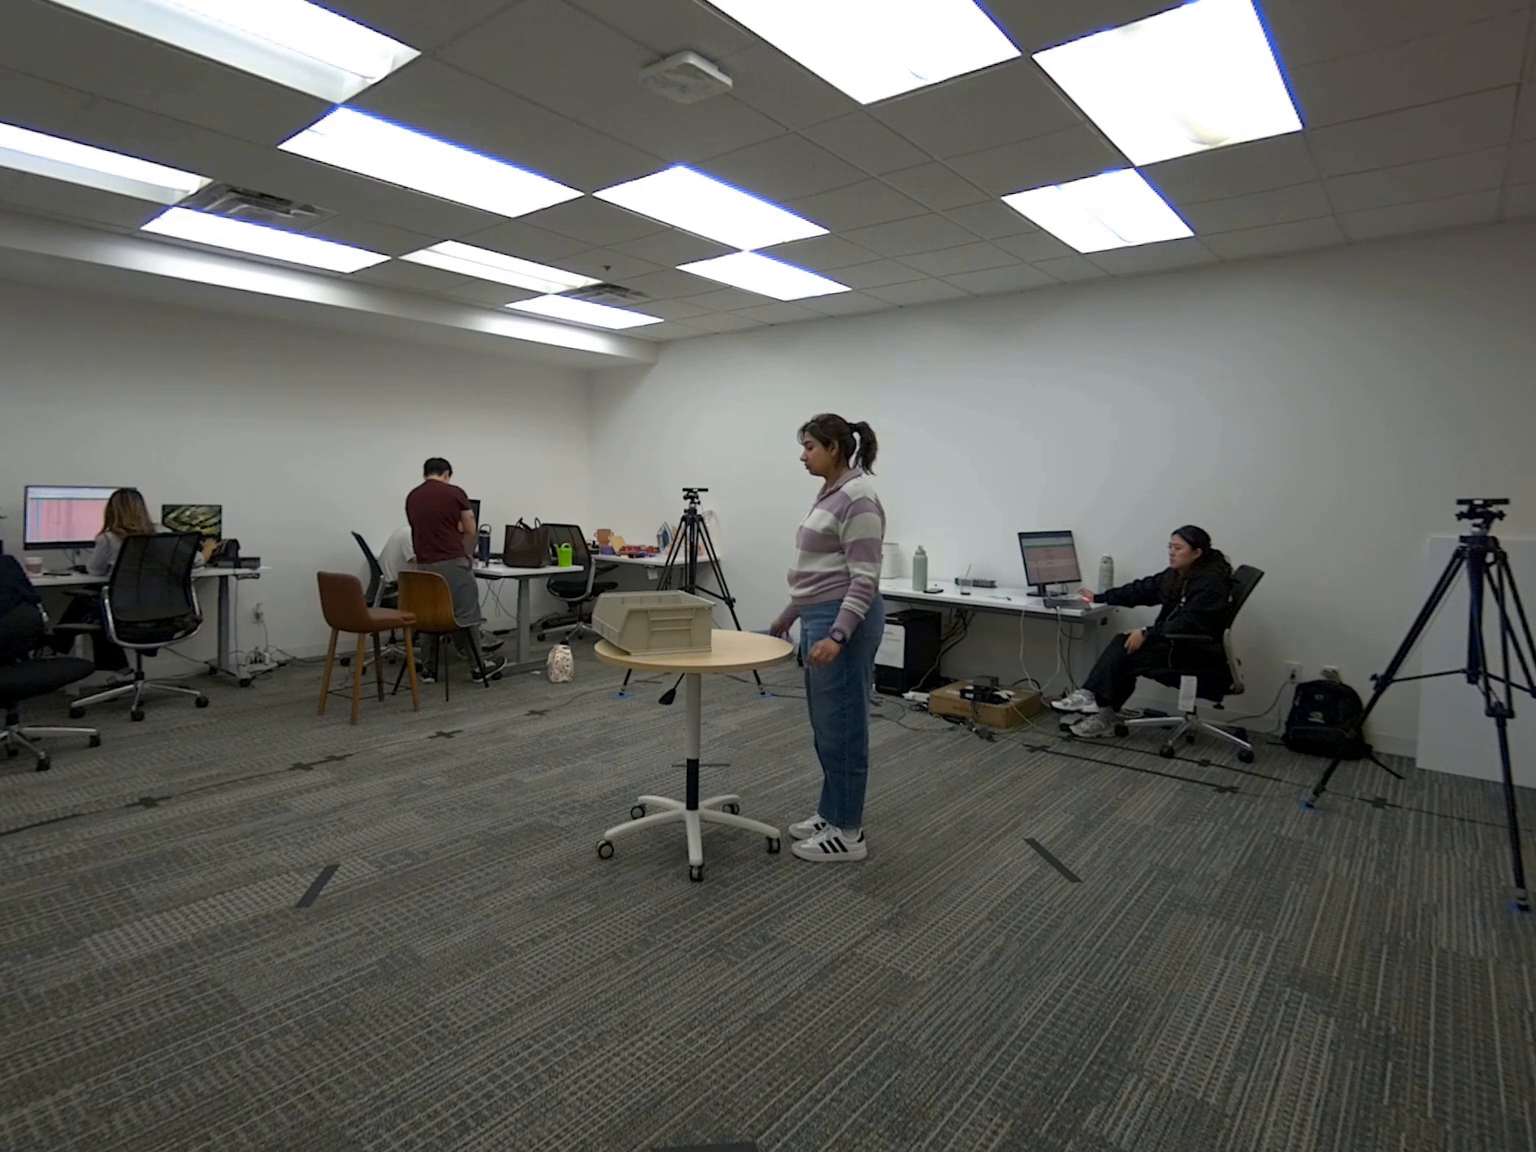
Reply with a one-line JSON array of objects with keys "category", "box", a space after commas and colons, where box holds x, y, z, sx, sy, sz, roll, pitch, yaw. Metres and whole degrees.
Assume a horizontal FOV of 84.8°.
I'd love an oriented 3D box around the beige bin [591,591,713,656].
[{"category": "beige bin", "box": [-0.463, 0.177, 3.310, 0.369, 0.188, 0.433, 0, 5, -24]}]
